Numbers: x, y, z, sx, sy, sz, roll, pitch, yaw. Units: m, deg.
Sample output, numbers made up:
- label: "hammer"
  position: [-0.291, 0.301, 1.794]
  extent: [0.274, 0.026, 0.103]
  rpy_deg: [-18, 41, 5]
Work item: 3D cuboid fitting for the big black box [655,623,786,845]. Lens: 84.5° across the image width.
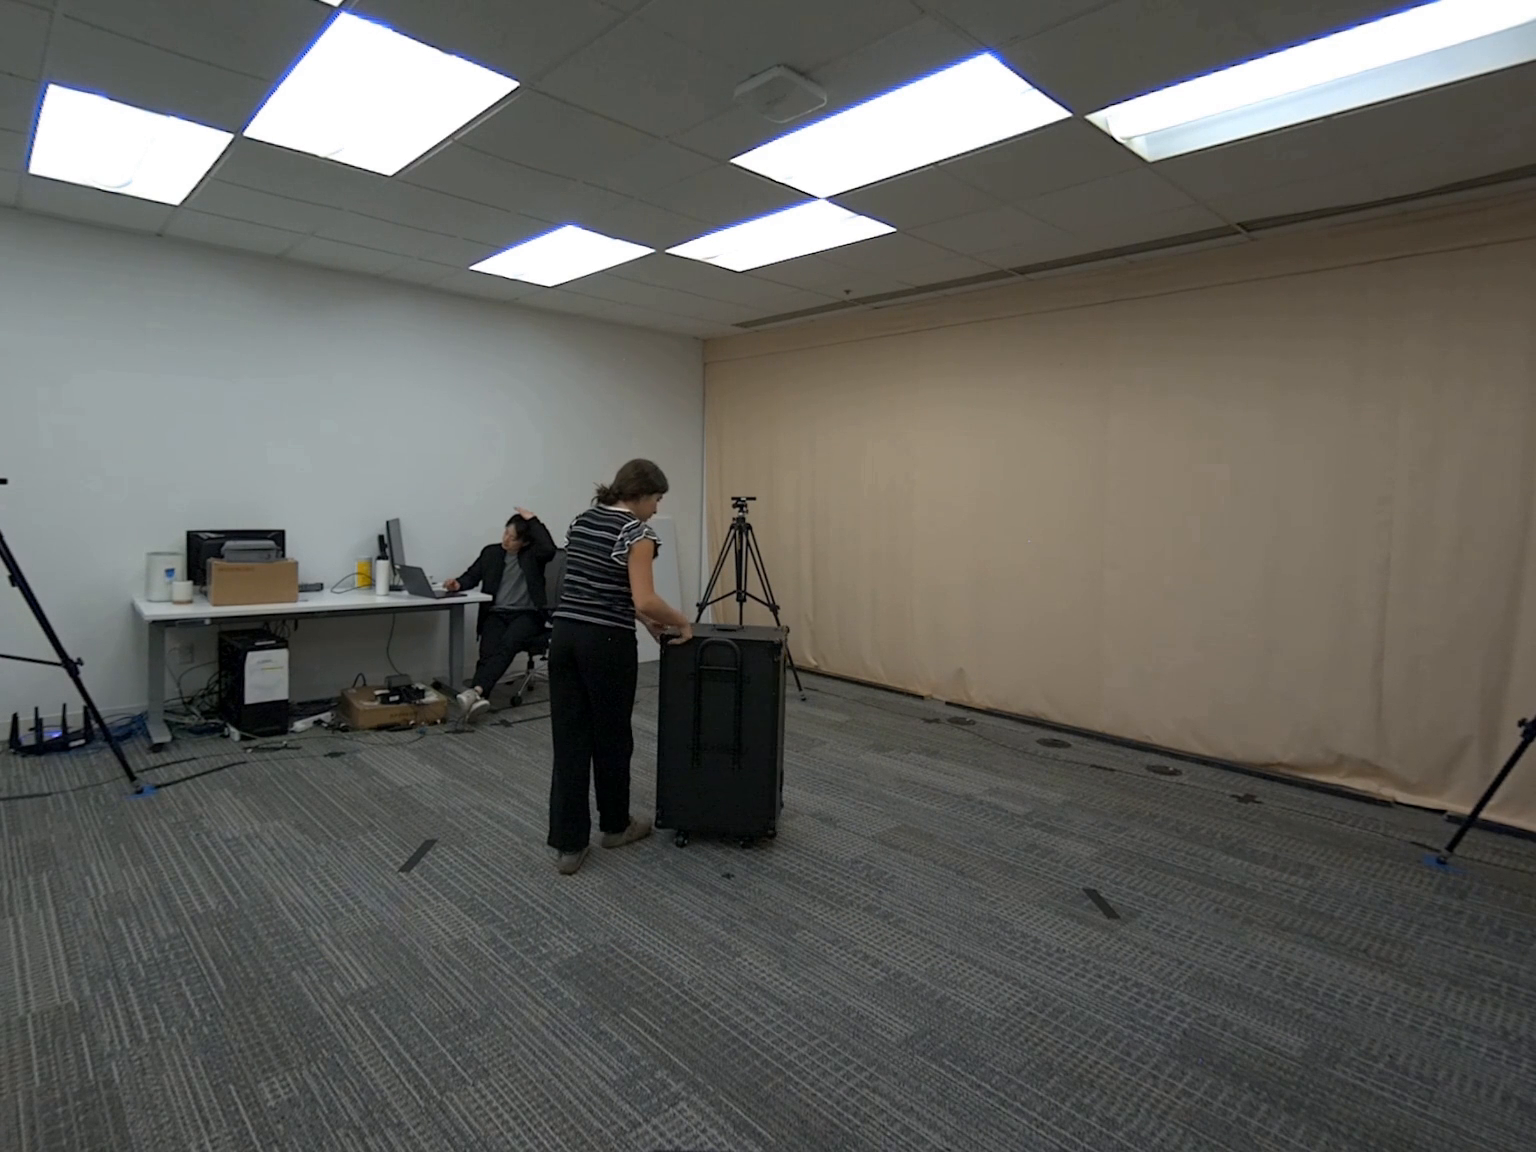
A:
- label: "big black box"
  position: [-0.184, 0.649, 3.469]
  extent: [0.524, 0.859, 0.395]
  rpy_deg: [3, 4, 6]
